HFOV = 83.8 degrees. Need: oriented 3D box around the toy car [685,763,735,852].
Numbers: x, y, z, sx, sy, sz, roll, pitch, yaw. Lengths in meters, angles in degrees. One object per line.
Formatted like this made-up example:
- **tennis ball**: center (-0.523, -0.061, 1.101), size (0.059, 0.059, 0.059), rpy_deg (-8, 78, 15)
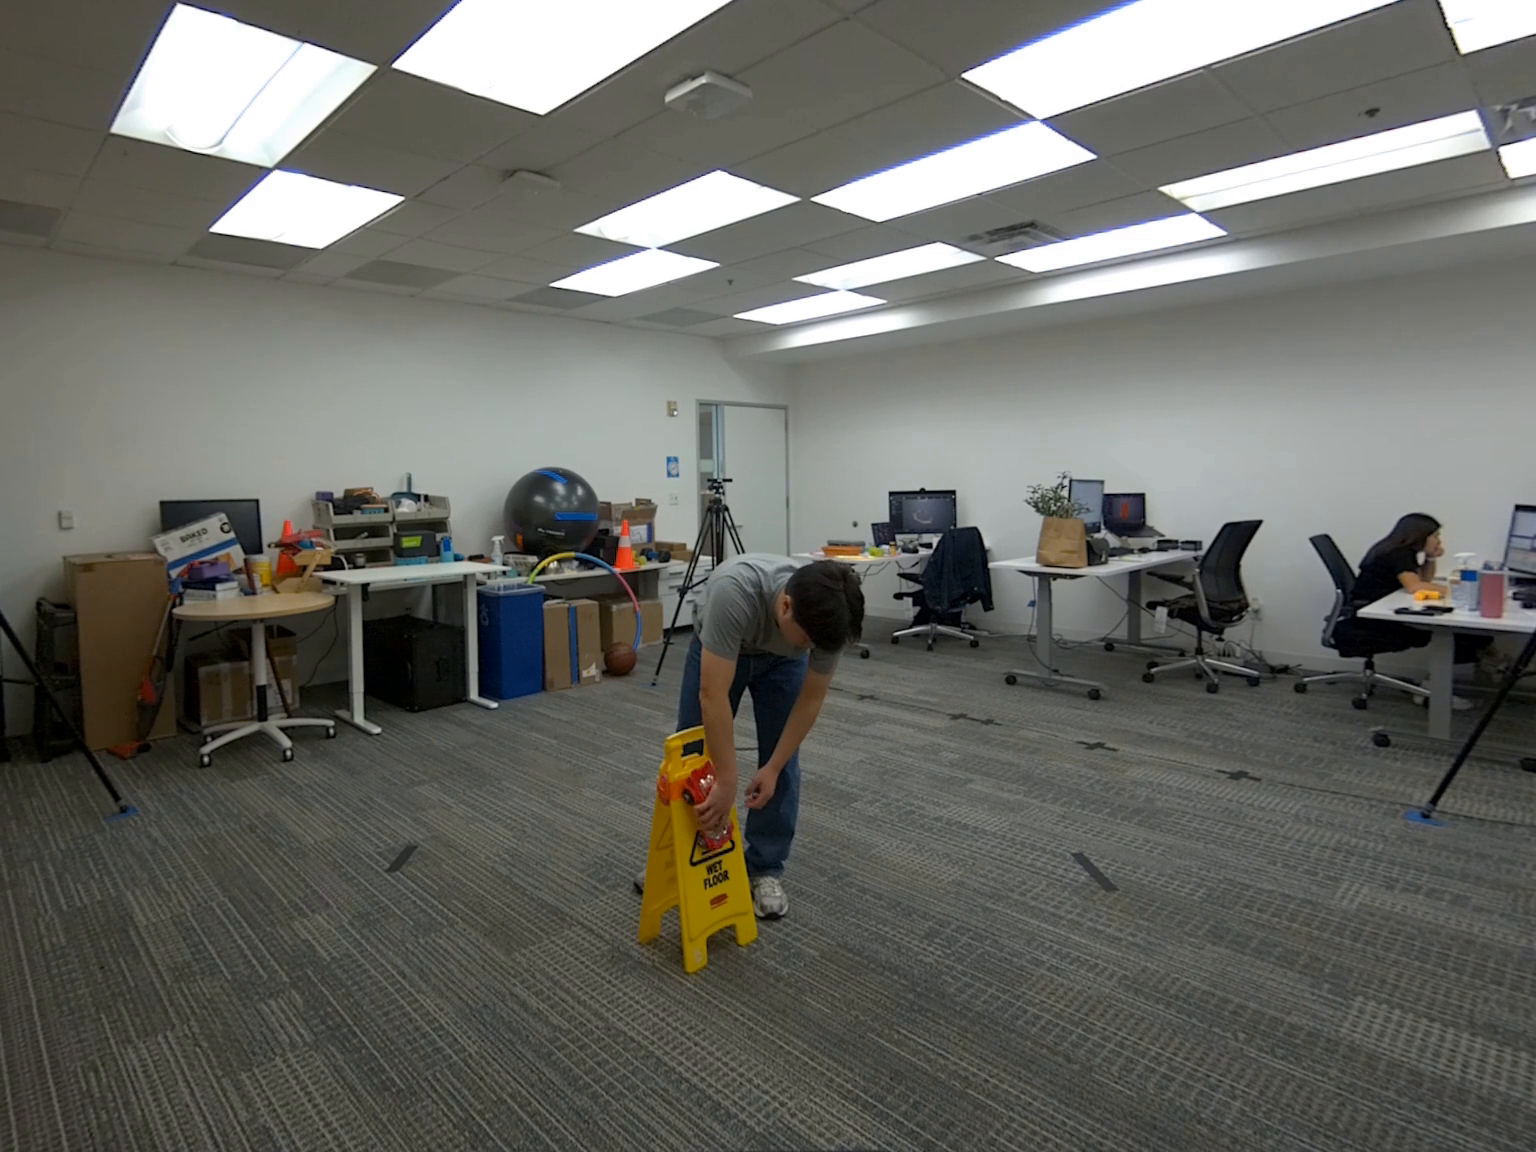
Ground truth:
- **toy car**: center (-0.195, 0.677, 2.503), size (0.128, 0.250, 0.086), rpy_deg (-23, 19, -38)
